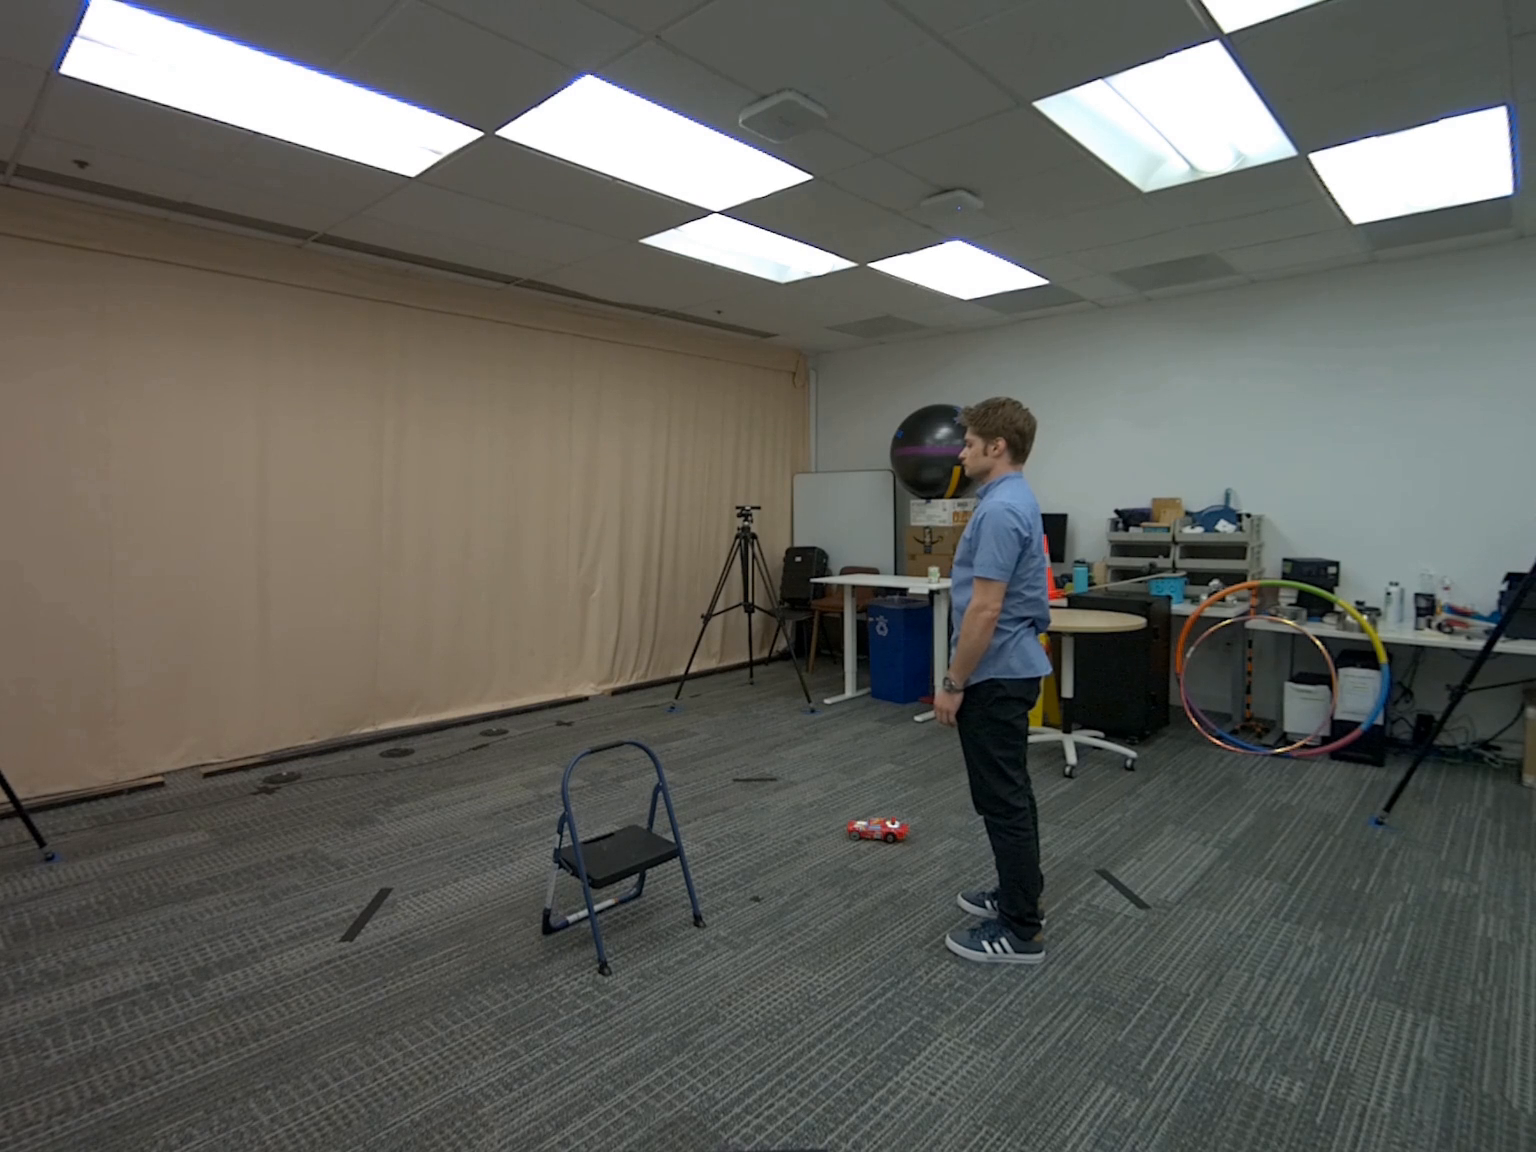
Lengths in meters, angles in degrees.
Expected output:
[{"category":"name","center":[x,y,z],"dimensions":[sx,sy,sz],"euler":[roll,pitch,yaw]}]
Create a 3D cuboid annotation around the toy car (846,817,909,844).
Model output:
[{"category":"toy car","center":[0.470,1.065,3.533],"dimensions":[0.257,0.083,0.129],"euler":[-10,2,12]}]
